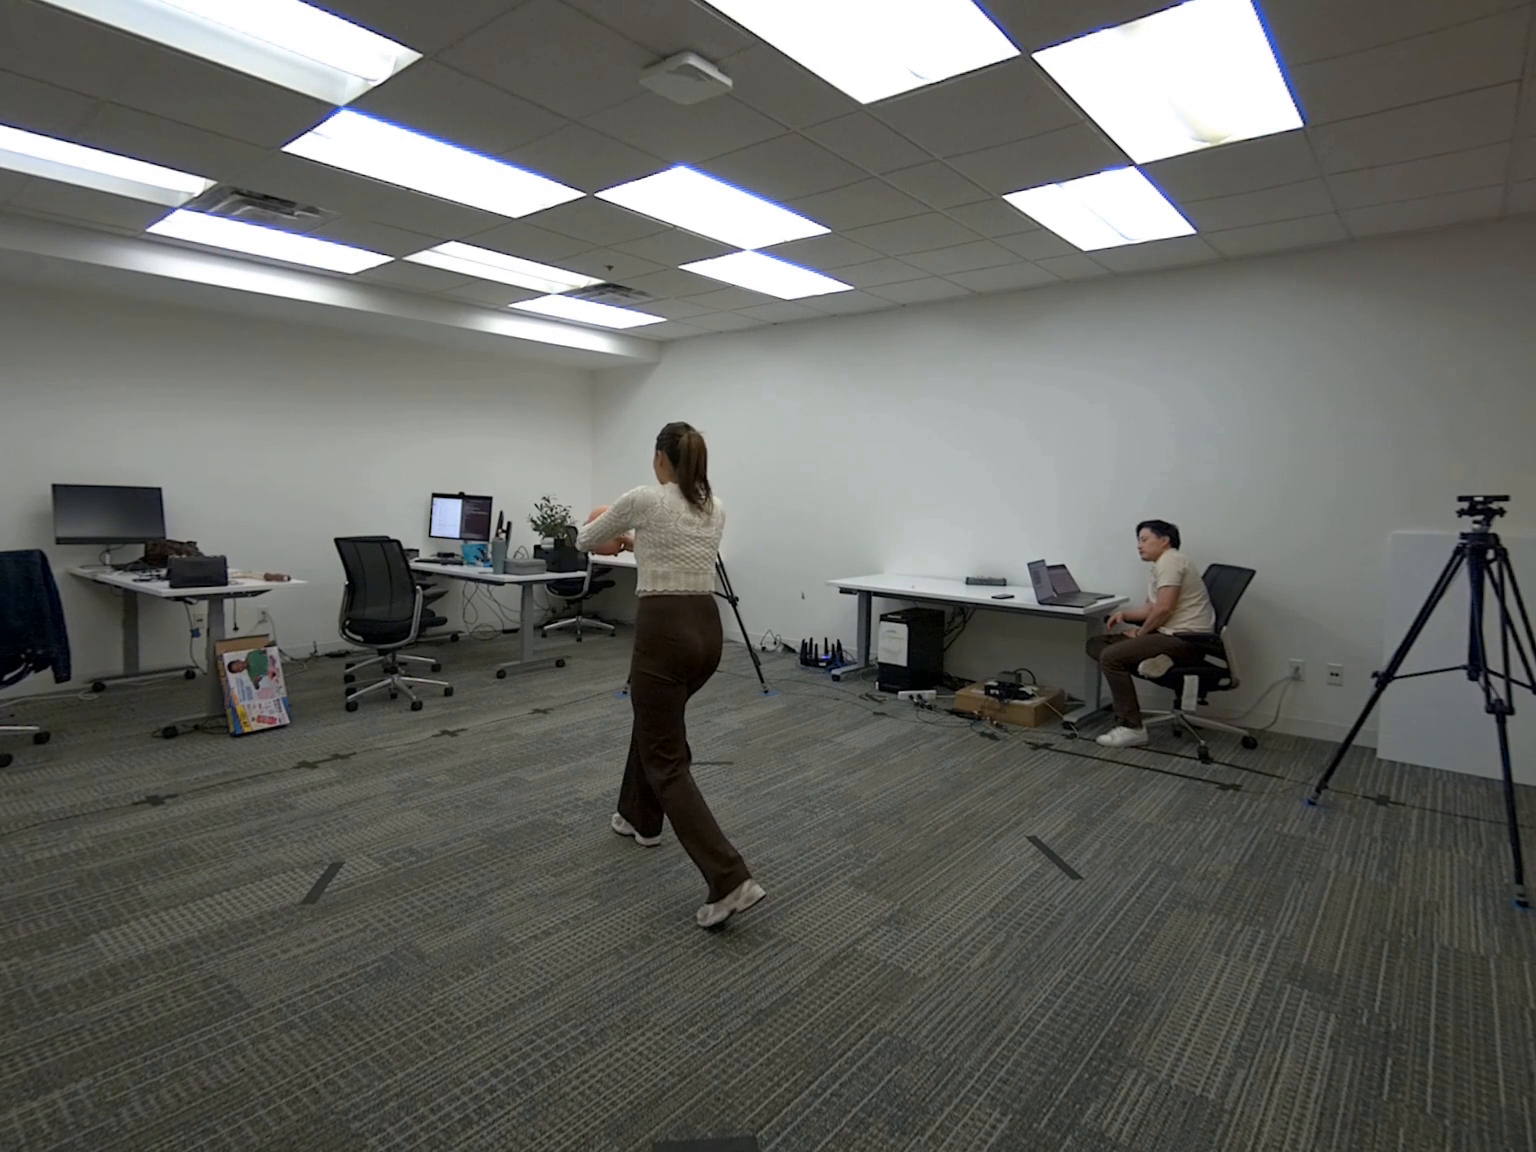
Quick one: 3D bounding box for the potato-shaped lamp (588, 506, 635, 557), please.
[{"bbox_3d":[-0.684,-0.192,3.540,0.166,0.196,0.171,6,14,-34],"label":"potato-shaped lamp"}]
